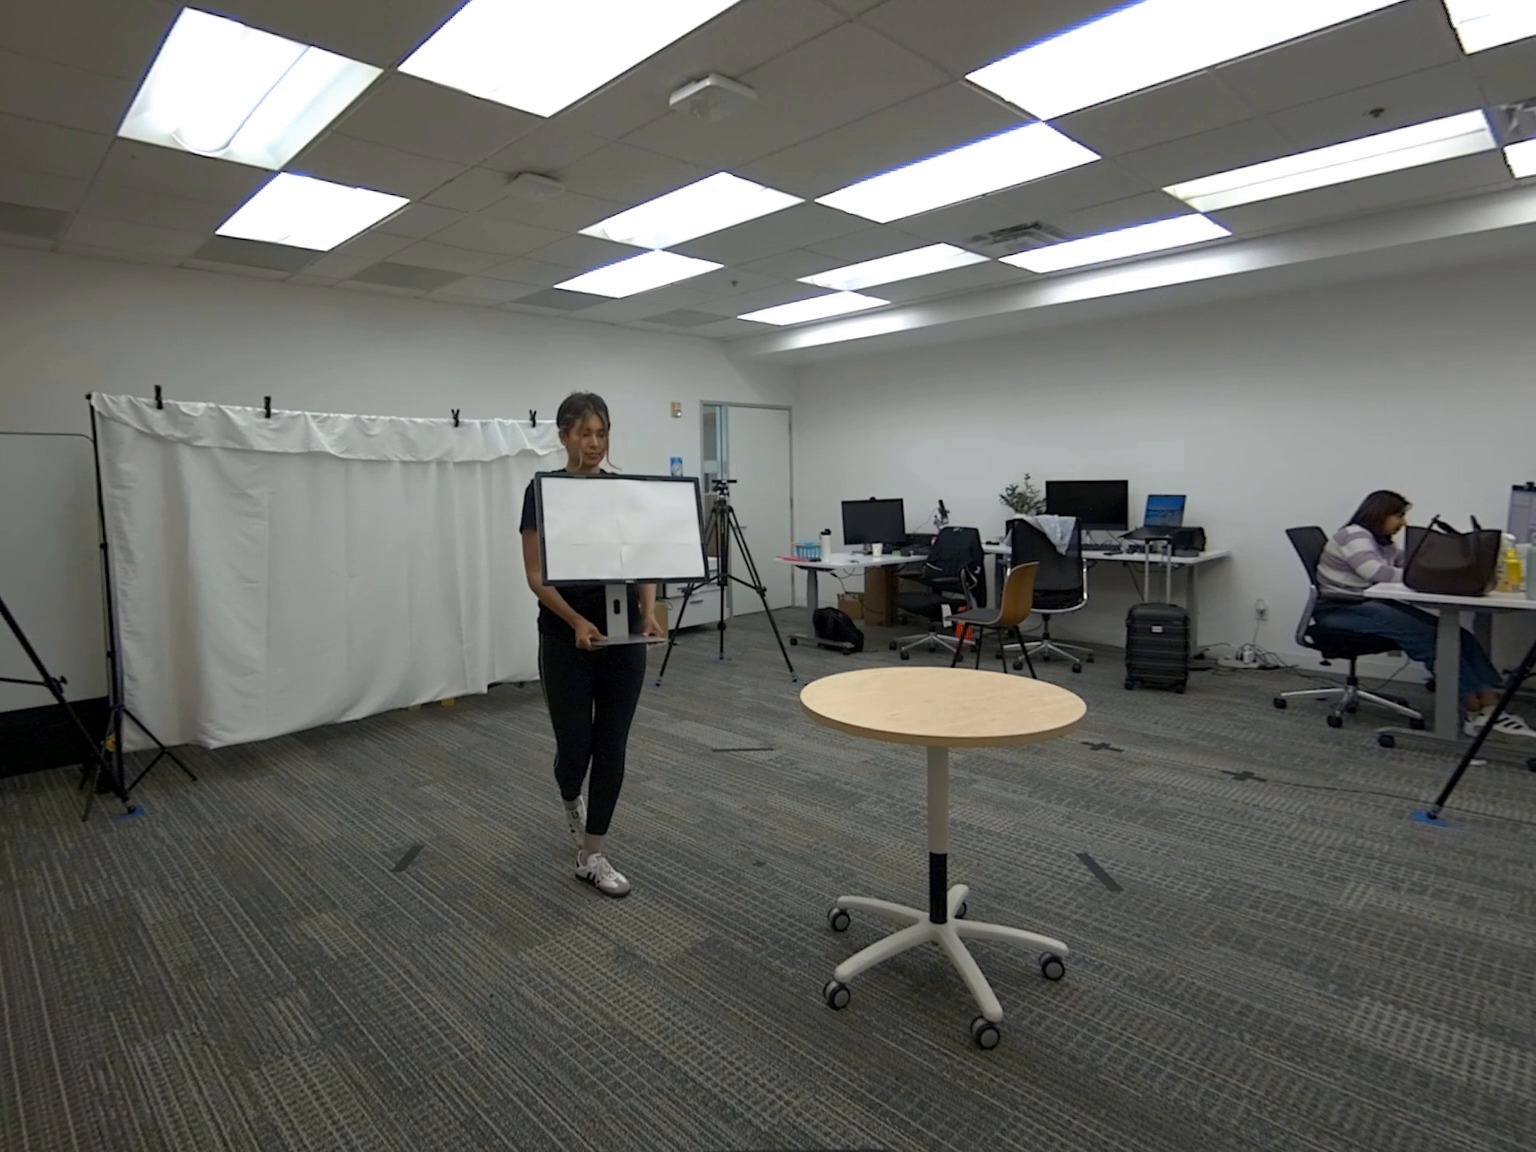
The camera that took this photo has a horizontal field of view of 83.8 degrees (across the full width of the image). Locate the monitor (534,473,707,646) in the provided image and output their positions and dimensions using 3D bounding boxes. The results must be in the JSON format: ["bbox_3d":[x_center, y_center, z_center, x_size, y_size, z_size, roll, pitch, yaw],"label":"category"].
[{"bbox_3d":[-0.483,-0.059,2.773,0.526,0.524,0.191,-1,-2,-29],"label":"monitor"}]
